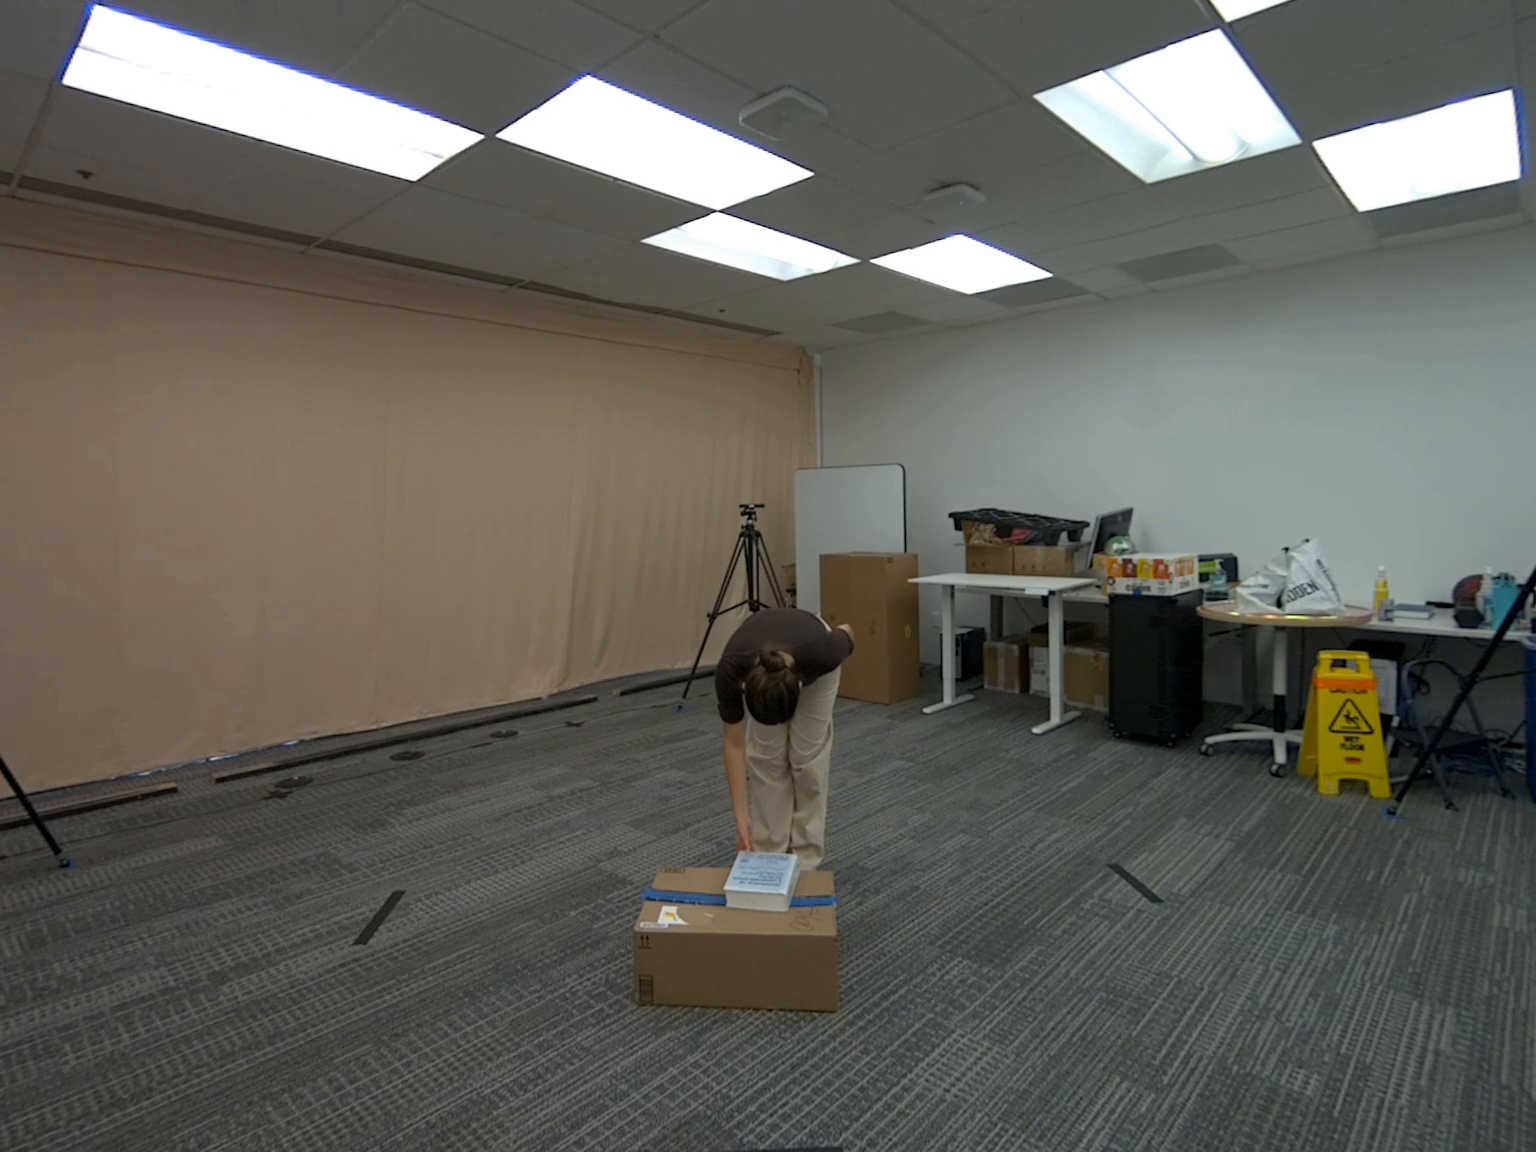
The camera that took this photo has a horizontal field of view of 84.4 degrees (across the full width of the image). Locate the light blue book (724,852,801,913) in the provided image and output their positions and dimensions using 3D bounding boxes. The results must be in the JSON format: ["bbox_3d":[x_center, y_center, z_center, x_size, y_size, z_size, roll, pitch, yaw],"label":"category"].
[{"bbox_3d":[-0.019,0.925,2.589,0.194,0.059,0.258,-1,6,11],"label":"light blue book"}]
